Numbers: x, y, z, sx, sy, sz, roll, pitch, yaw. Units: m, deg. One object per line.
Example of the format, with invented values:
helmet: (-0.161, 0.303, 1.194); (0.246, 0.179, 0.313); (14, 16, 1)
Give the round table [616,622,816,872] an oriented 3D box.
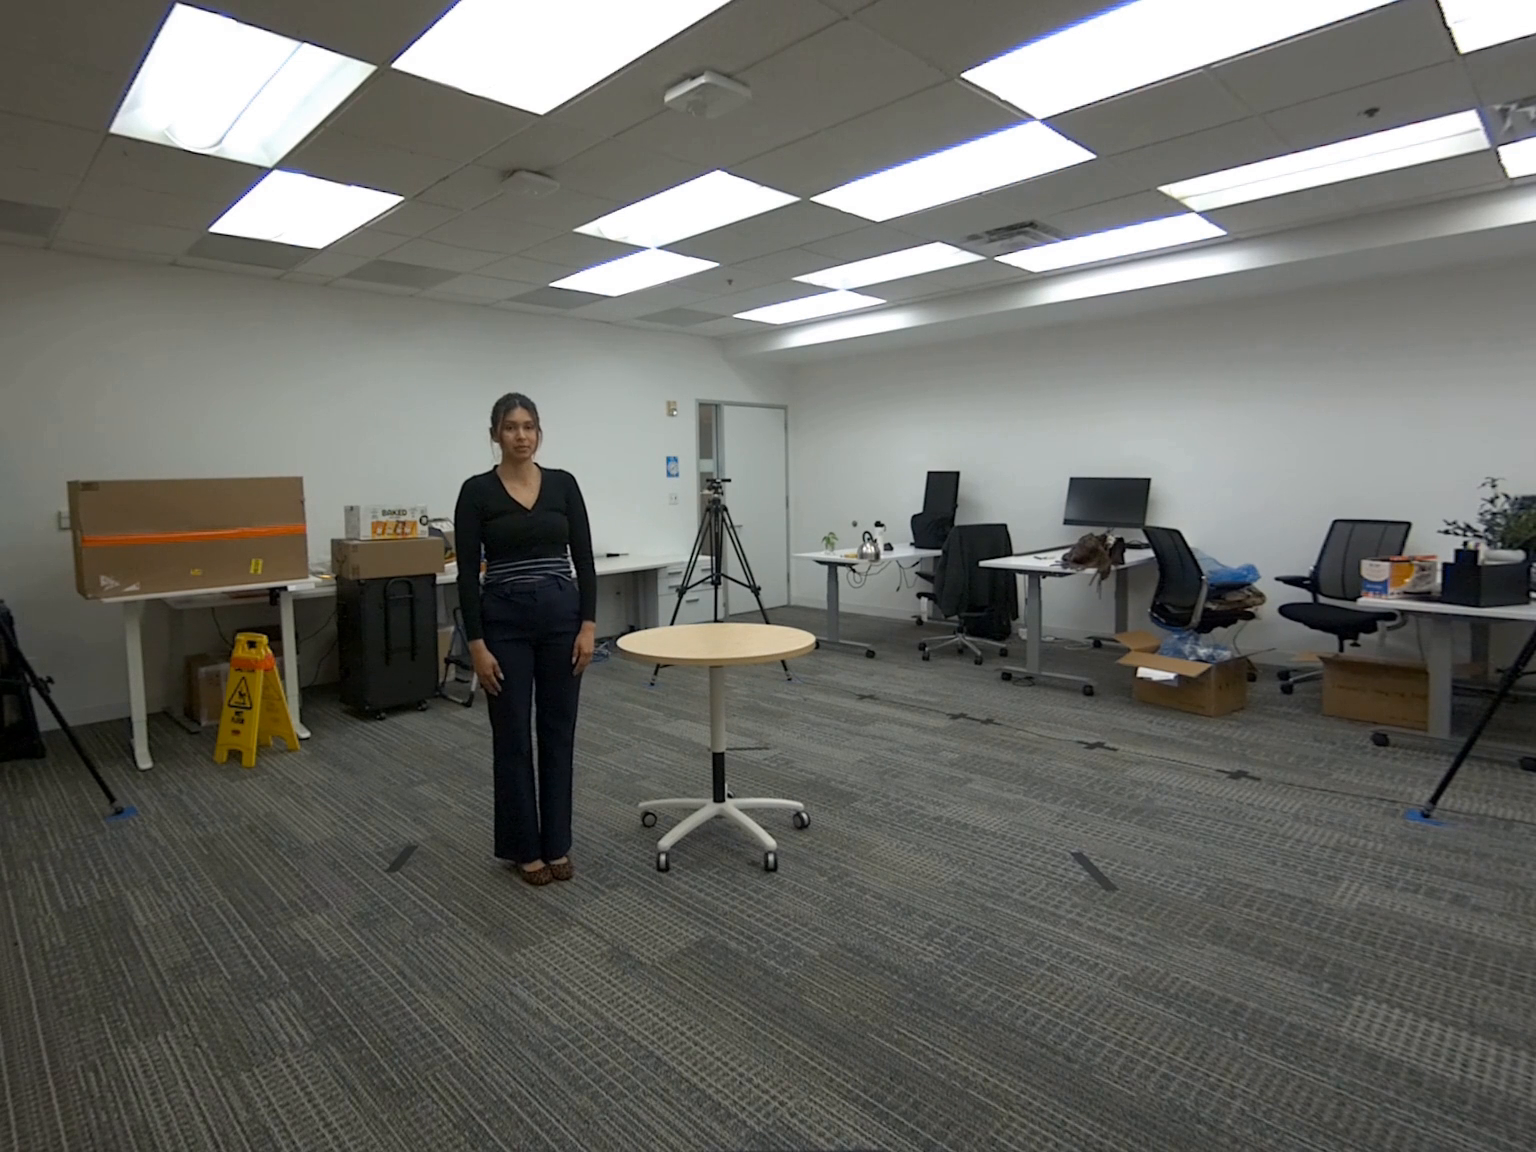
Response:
round table: (-0.187, 0.635, 3.330); (0.763, 0.791, 0.767); (-1, 4, -2)
